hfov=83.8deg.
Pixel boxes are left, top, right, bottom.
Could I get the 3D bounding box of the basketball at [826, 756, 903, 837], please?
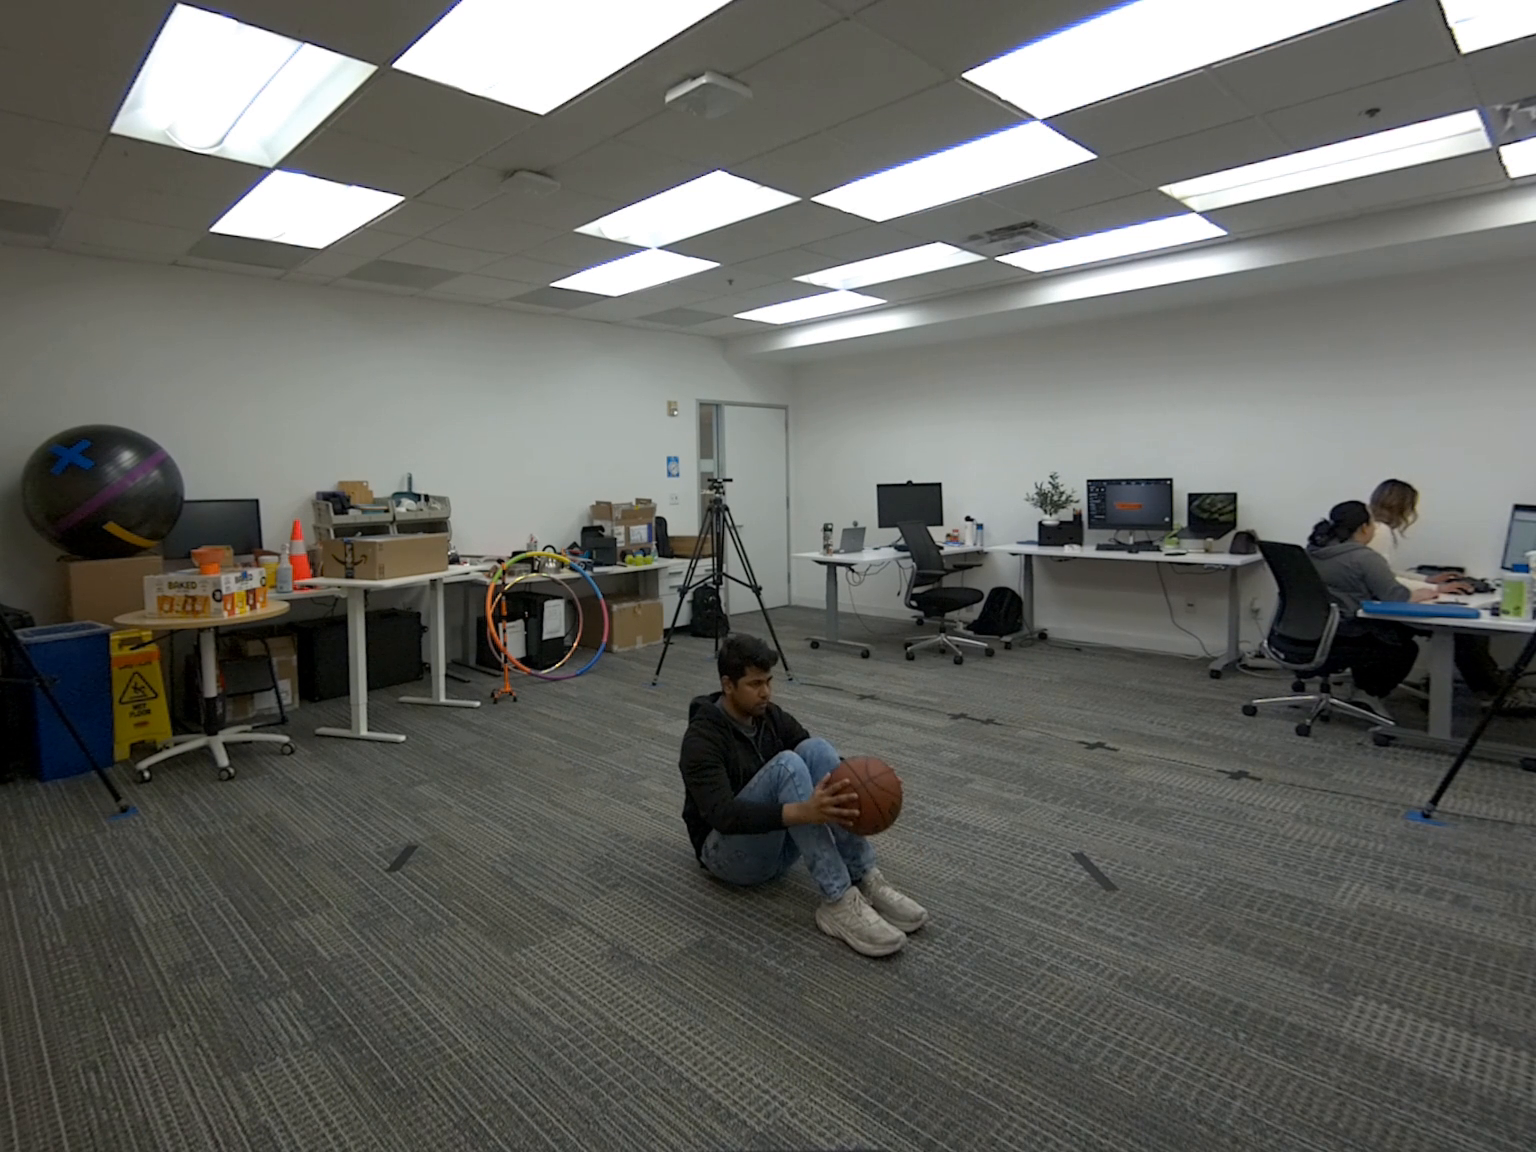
[{"bbox_3d":[0.289,0.679,2.659,0.236,0.235,0.237,-1,5,-2],"label":"basketball"}]
